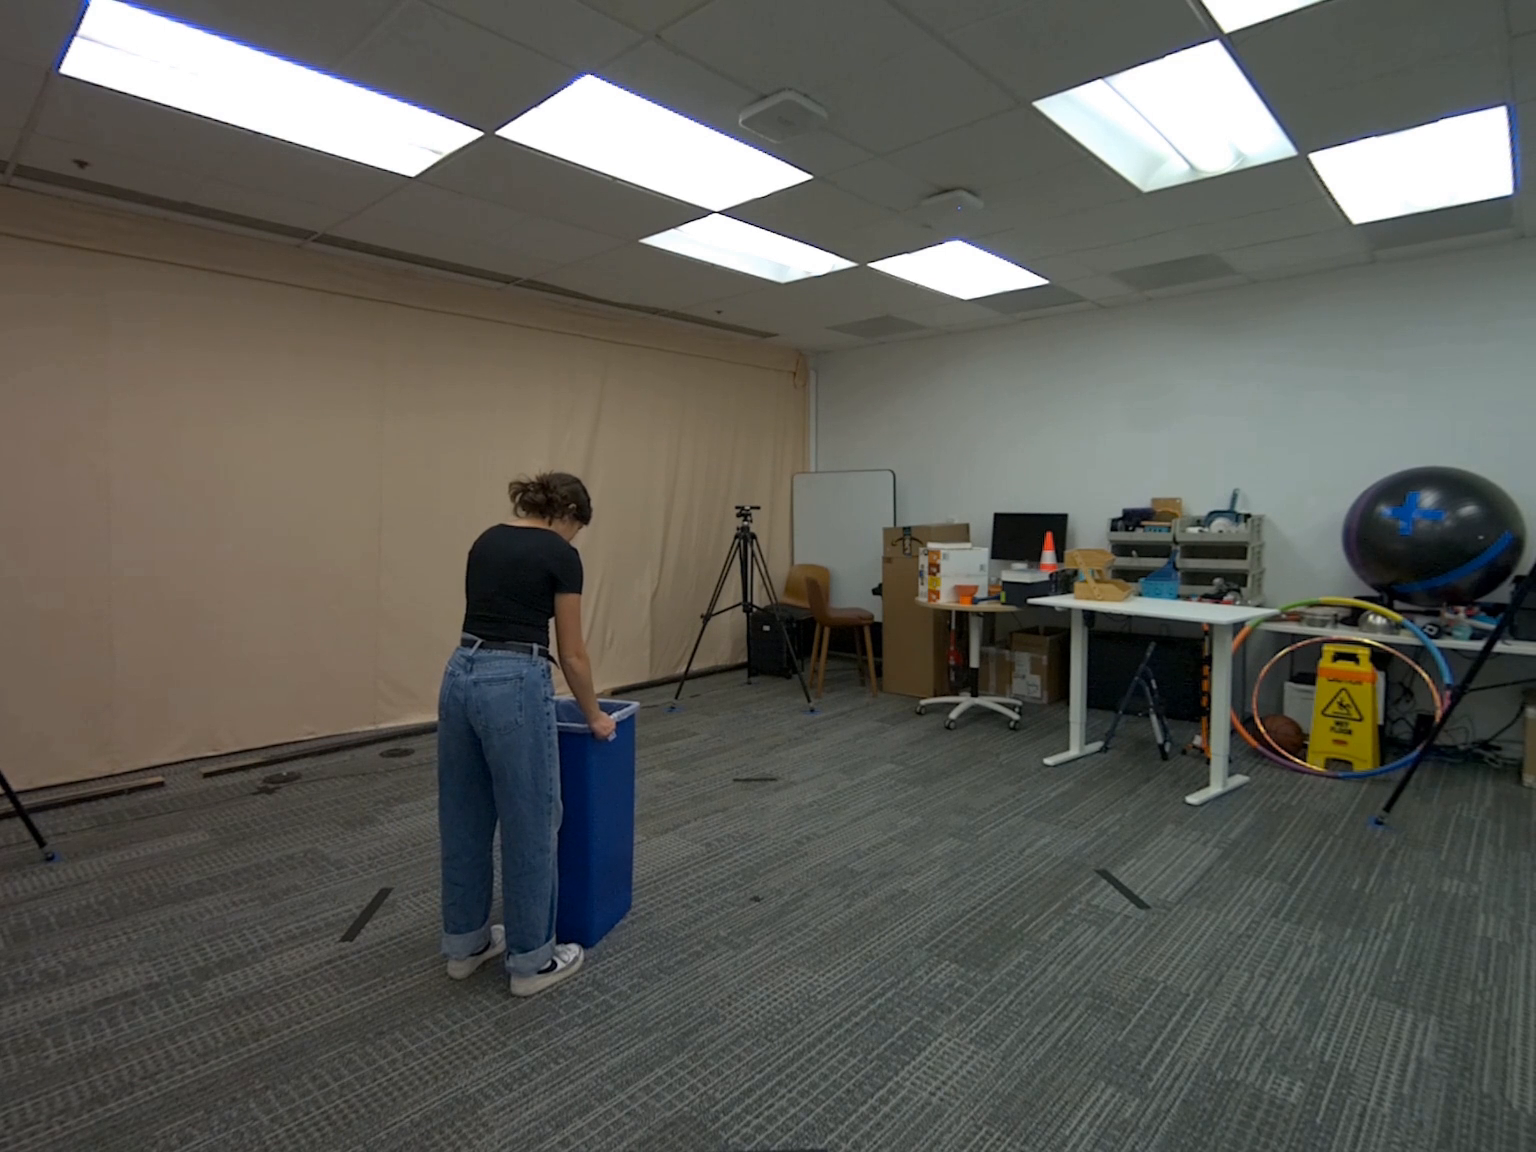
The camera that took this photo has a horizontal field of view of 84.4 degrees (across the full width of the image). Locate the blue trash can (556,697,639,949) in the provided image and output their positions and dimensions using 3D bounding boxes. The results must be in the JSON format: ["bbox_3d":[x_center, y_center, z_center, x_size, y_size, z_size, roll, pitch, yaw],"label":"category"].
[{"bbox_3d":[-0.662,0.802,2.822,0.381,0.712,0.371,1,2,18],"label":"blue trash can"}]
